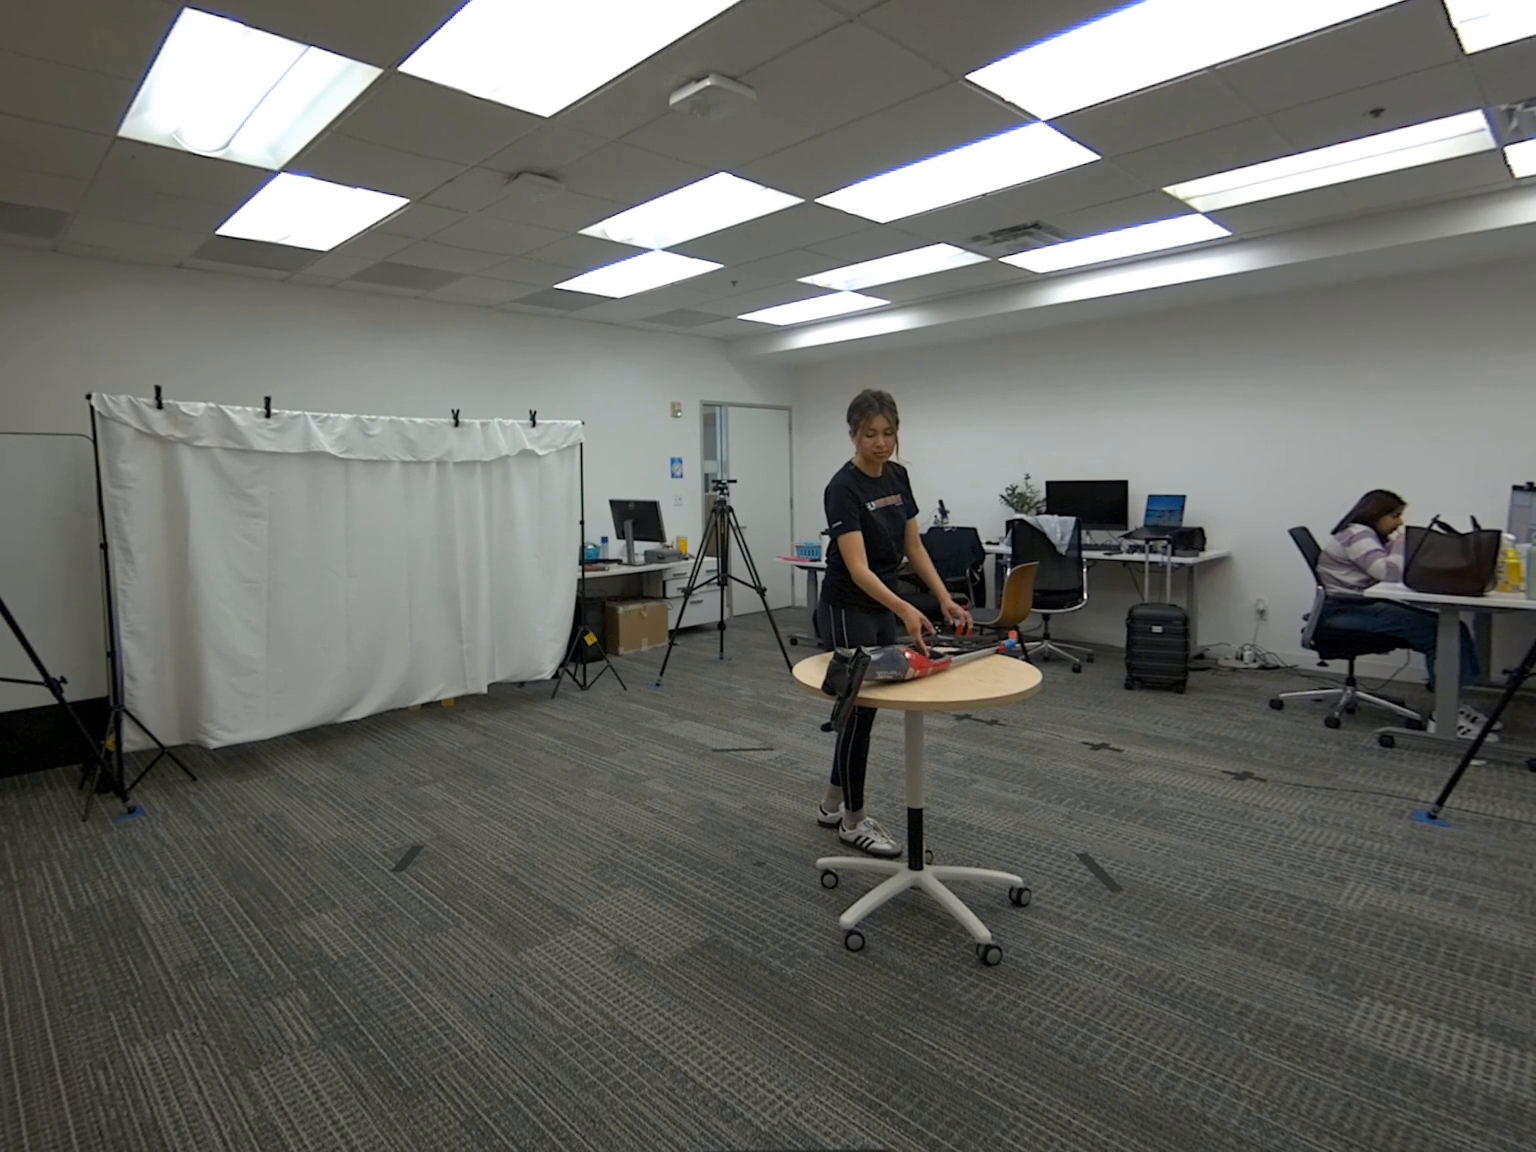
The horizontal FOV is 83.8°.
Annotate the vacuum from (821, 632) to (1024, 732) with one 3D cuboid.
[{"bbox_3d":[0.541,0.262,2.719,1.022,0.250,0.149,-7,35,-47],"label":"vacuum"}]
